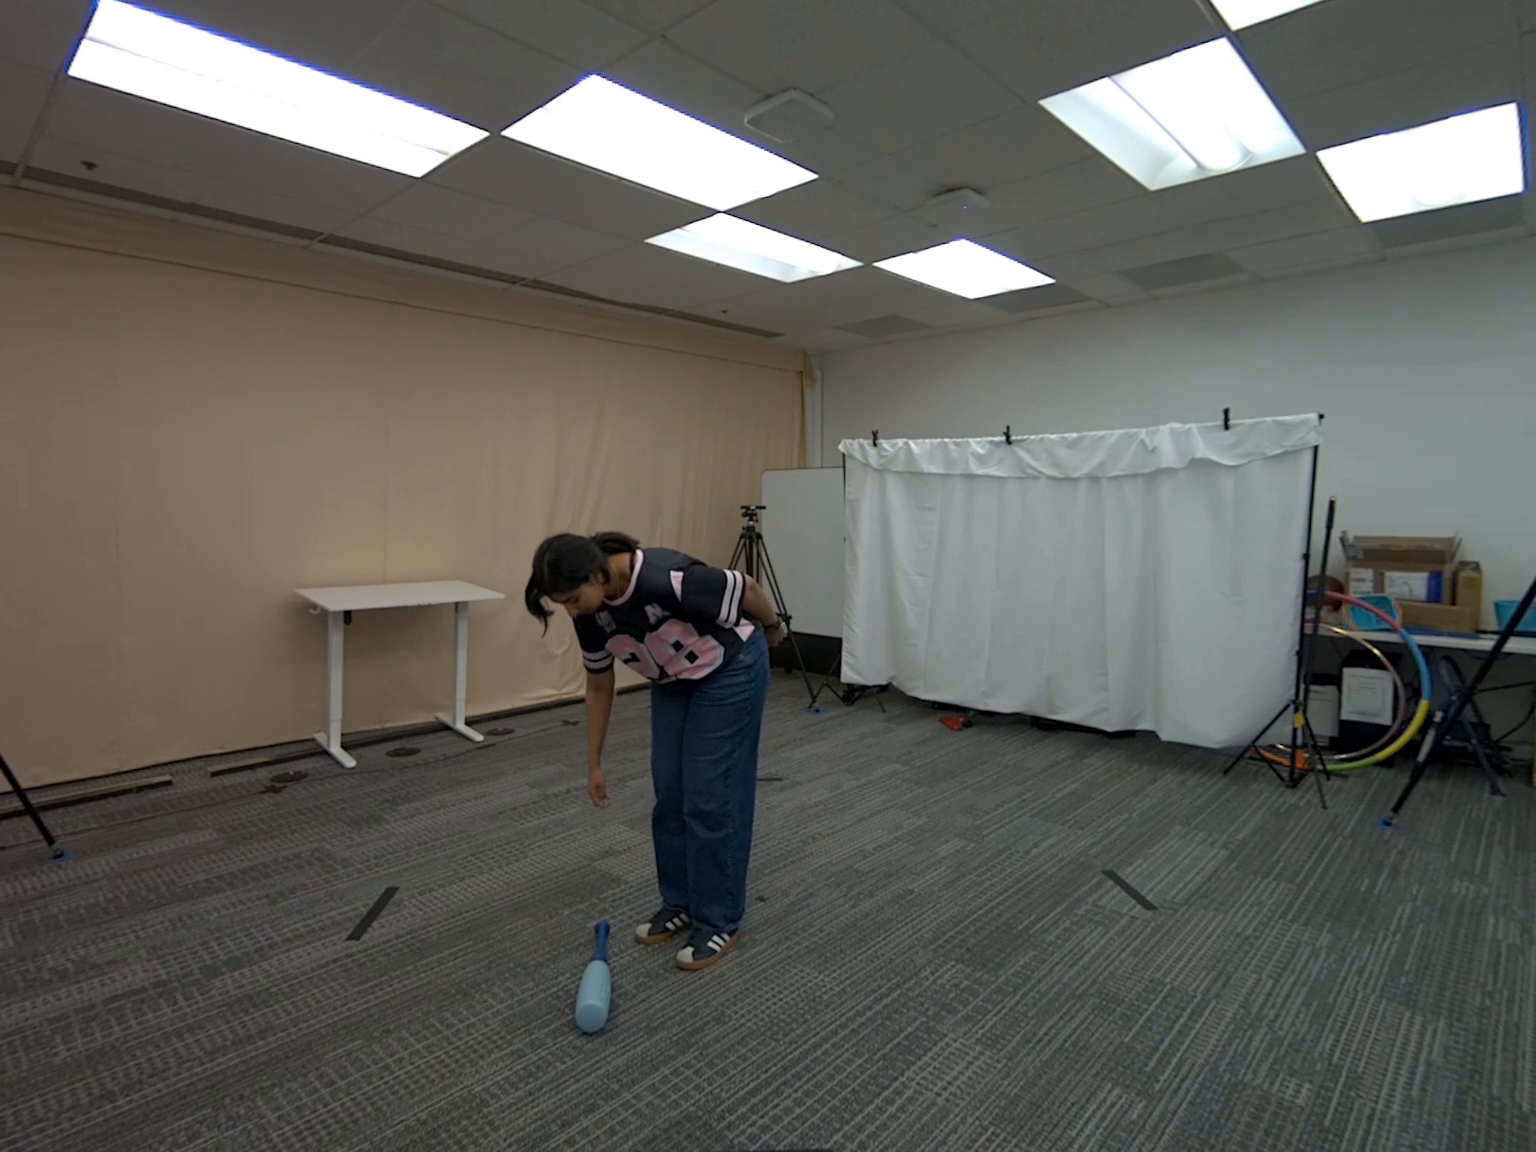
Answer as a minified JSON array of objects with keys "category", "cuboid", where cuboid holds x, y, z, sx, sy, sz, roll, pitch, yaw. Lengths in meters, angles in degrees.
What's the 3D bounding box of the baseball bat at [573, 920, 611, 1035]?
[{"category":"baseball bat","cuboid":[-0.501,1.157,2.464,0.088,0.089,0.547,0,1,-8]}]
